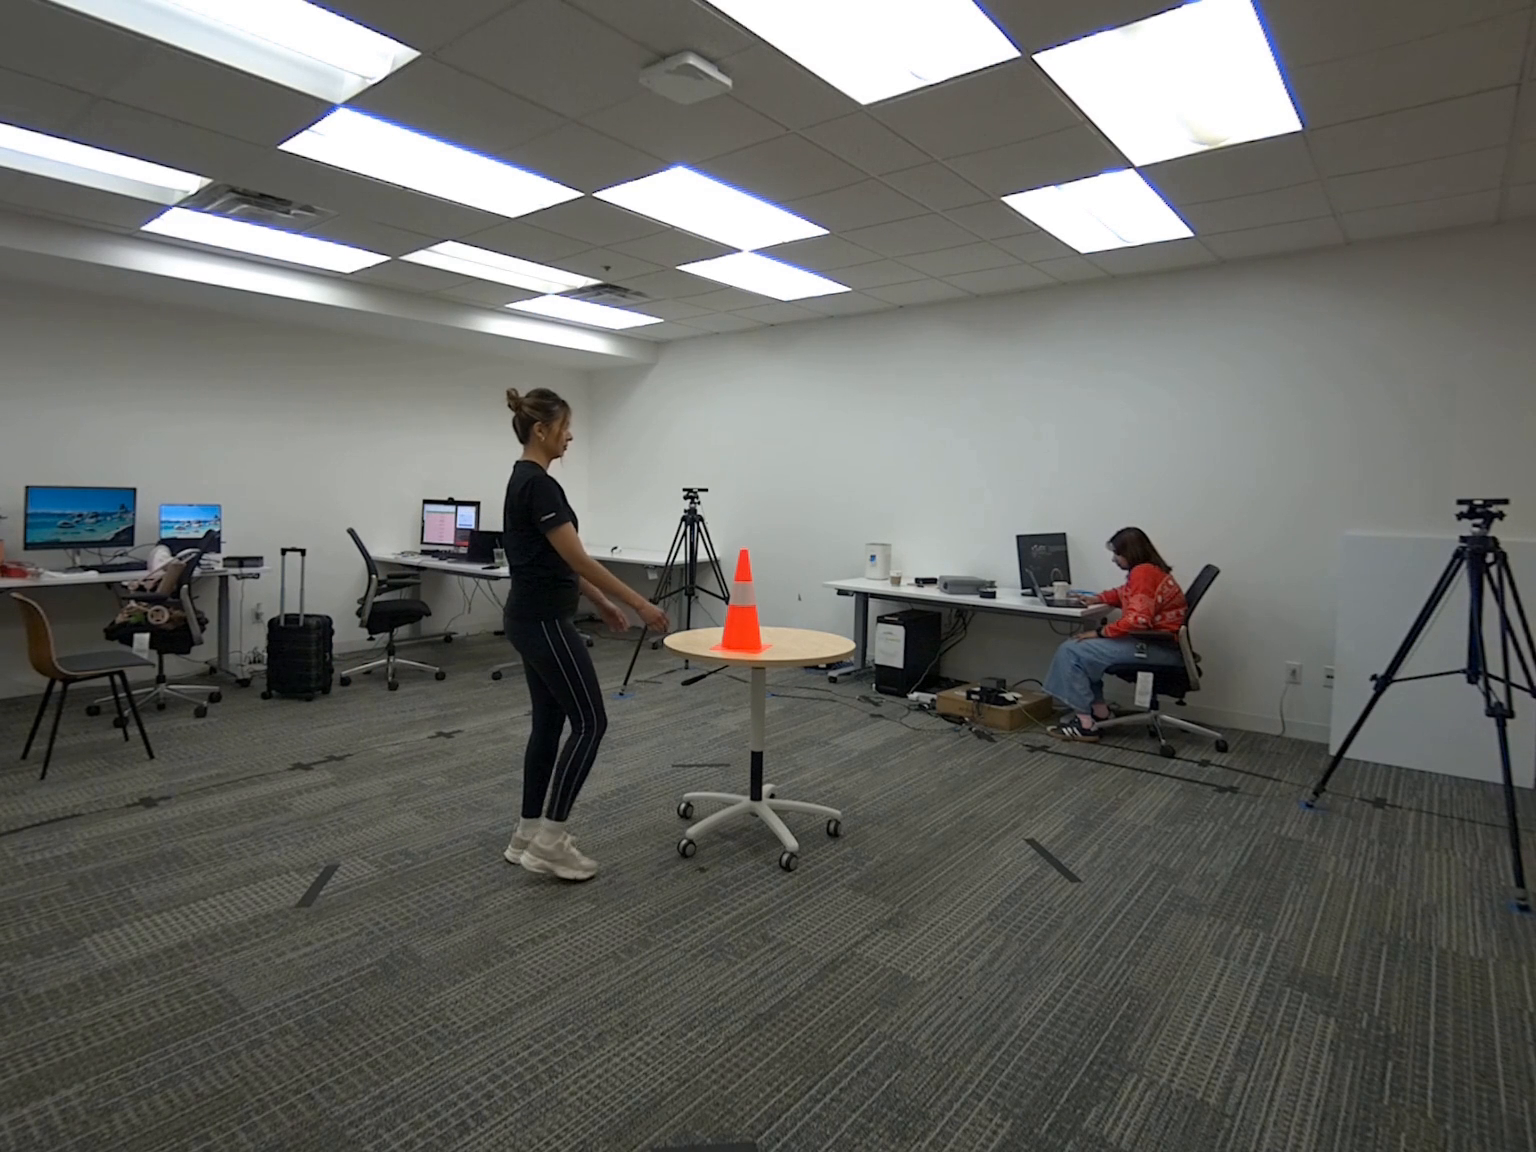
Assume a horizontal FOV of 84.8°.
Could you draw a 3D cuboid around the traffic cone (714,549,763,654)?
[{"bbox_3d":[-0.106,0.089,3.265,0.208,0.382,0.201,5,5,21],"label":"traffic cone"}]
